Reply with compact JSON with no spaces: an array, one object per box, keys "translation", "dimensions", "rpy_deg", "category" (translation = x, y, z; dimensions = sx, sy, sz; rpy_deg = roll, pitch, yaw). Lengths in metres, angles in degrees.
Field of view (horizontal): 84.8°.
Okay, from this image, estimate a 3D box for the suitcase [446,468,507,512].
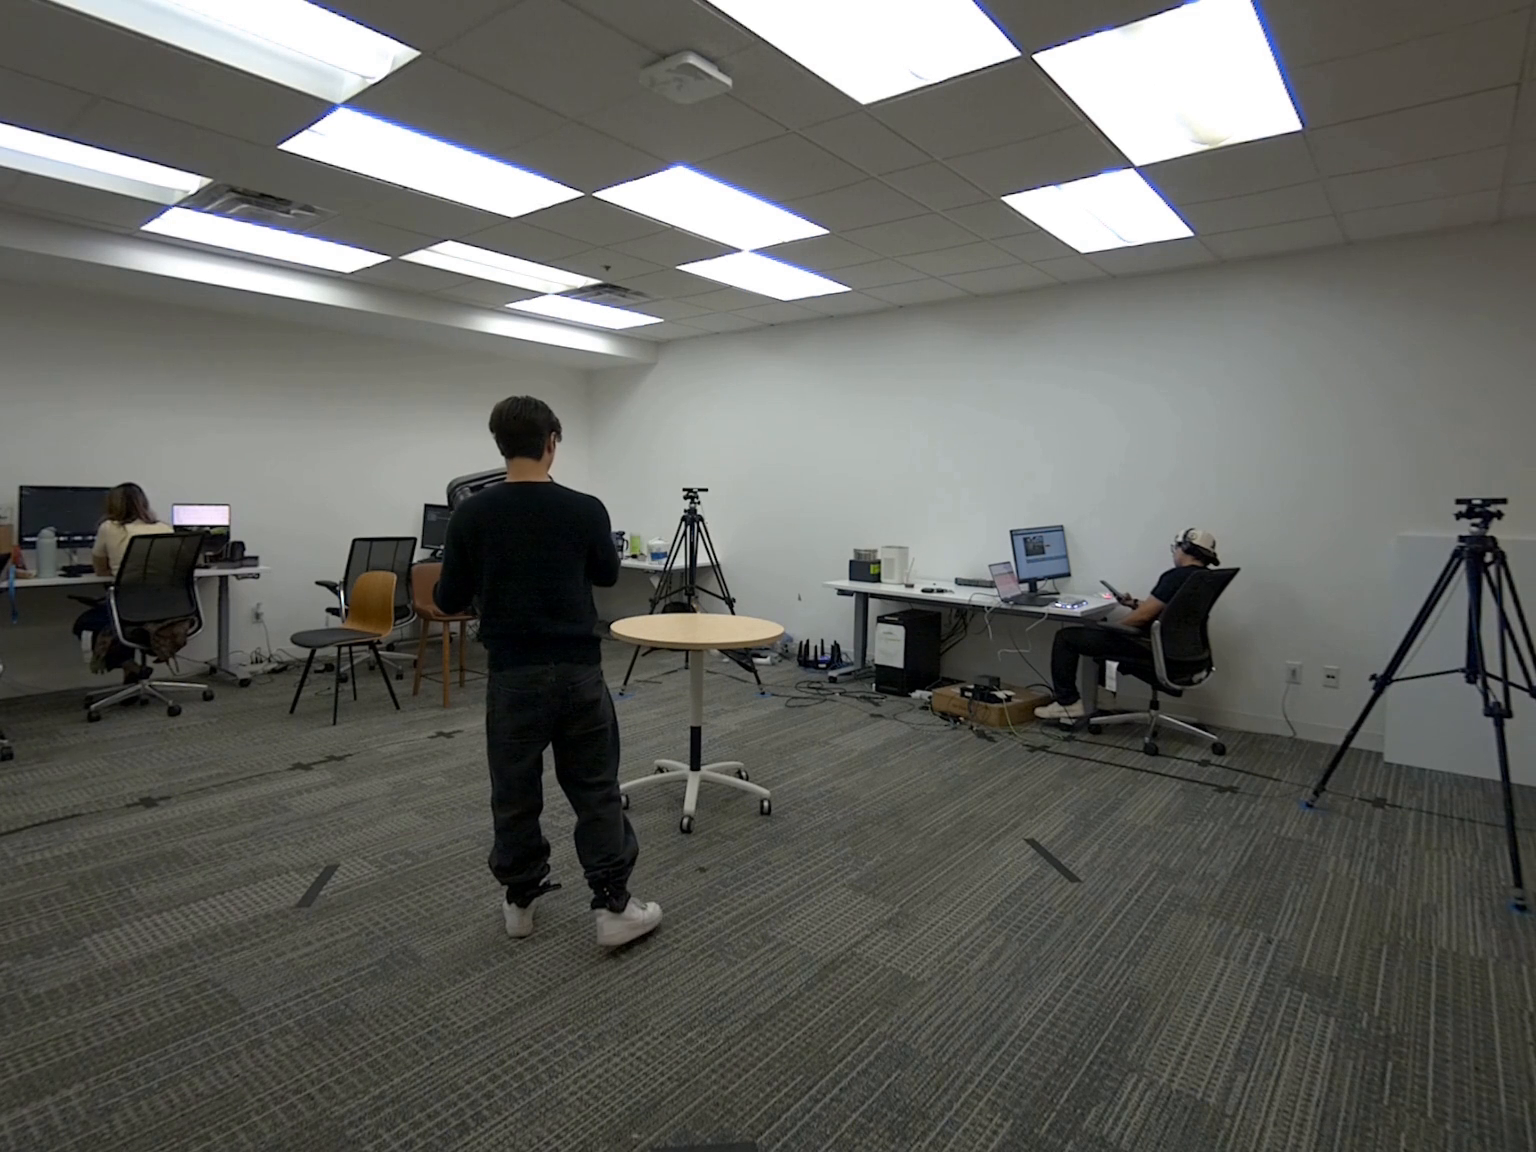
[{"translation":[-0.894,-0.106,2.956],"dimensions":[0.369,0.536,0.258],"rpy_deg":[-16,29,-23],"category":"suitcase"}]
